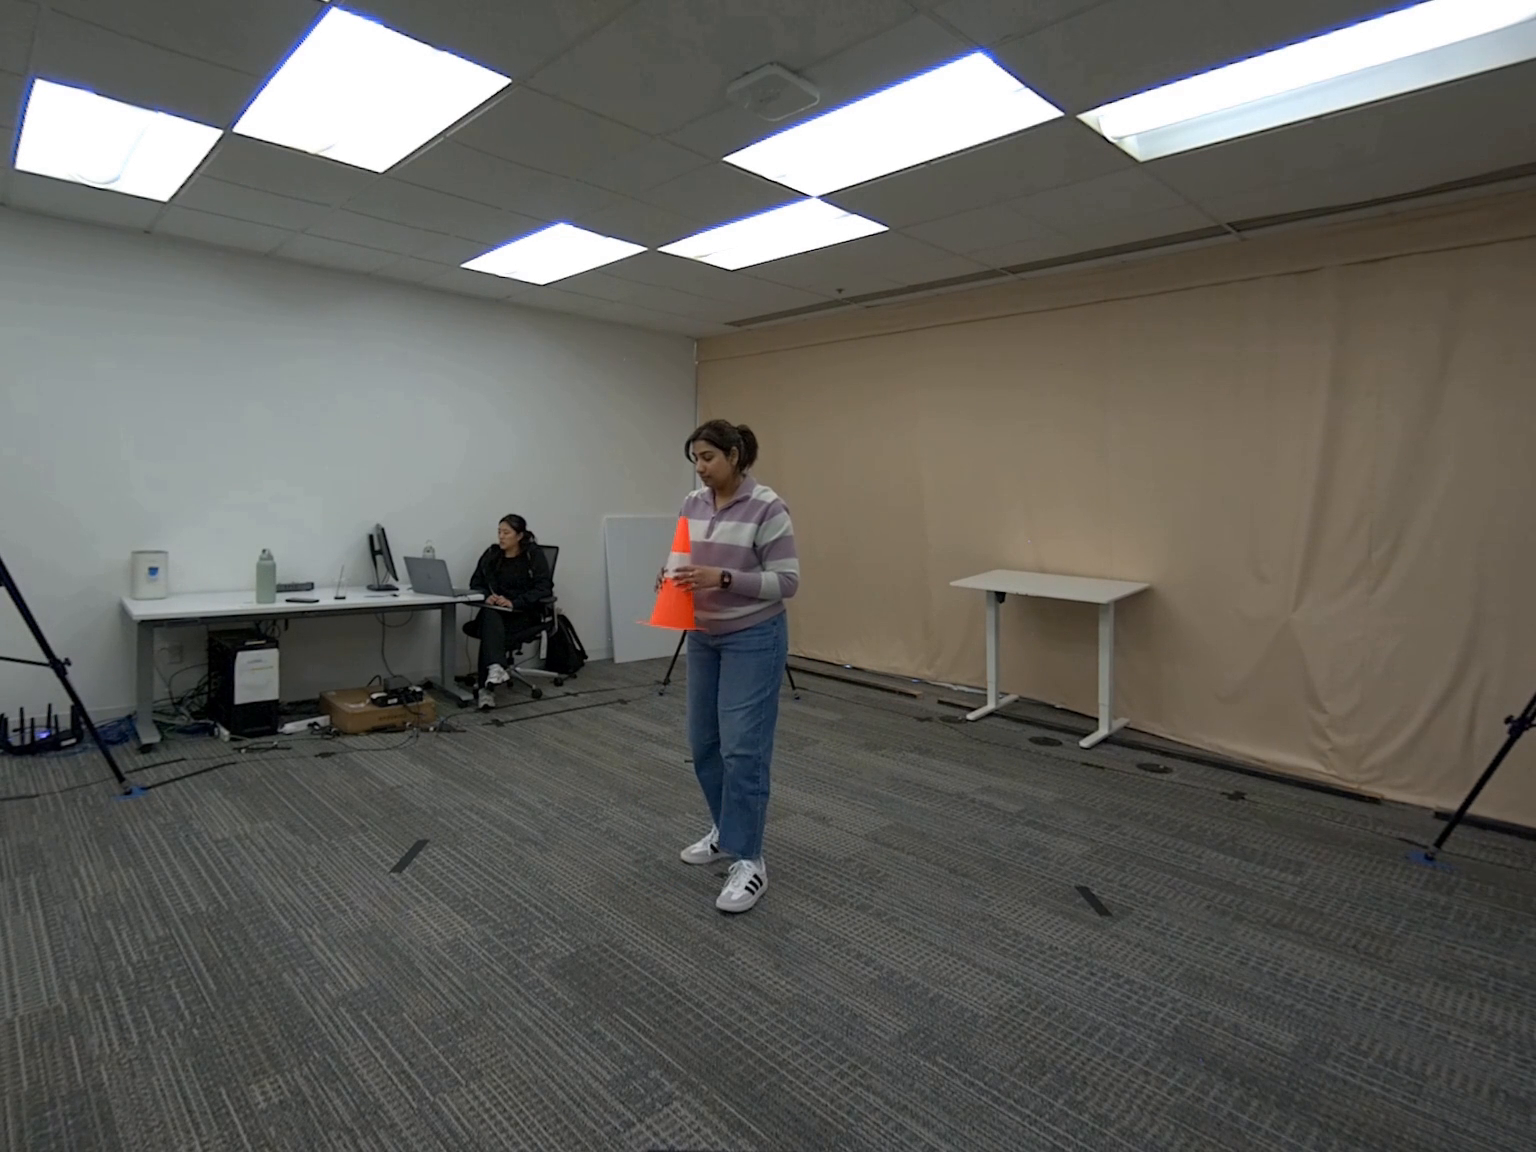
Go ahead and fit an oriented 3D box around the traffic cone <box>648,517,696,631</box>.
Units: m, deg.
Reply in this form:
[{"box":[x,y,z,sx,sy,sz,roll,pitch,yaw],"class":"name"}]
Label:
[{"box":[-0.326,-0.010,2.942,0.209,0.384,0.198,4,-2,31],"class":"traffic cone"}]
